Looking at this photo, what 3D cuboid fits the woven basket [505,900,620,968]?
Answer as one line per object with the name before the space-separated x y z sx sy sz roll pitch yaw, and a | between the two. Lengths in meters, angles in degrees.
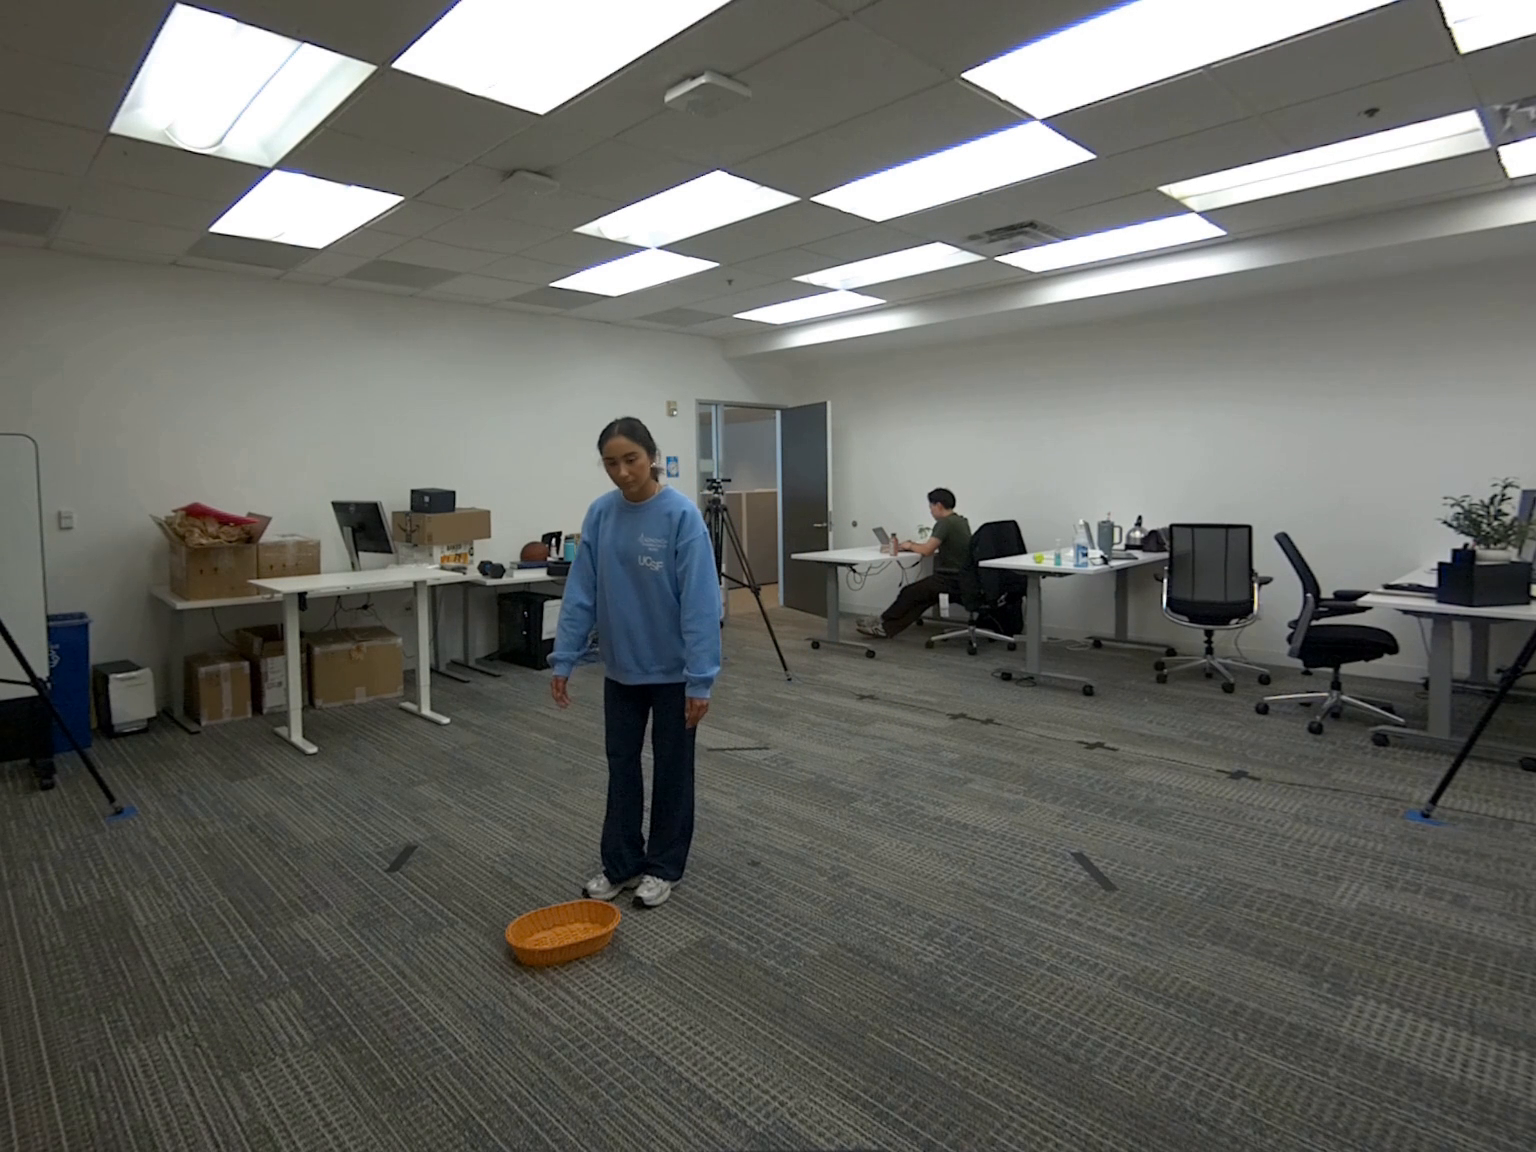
woven basket | -0.609 1.074 2.582 0.343 0.073 0.258 -4 6 -24
